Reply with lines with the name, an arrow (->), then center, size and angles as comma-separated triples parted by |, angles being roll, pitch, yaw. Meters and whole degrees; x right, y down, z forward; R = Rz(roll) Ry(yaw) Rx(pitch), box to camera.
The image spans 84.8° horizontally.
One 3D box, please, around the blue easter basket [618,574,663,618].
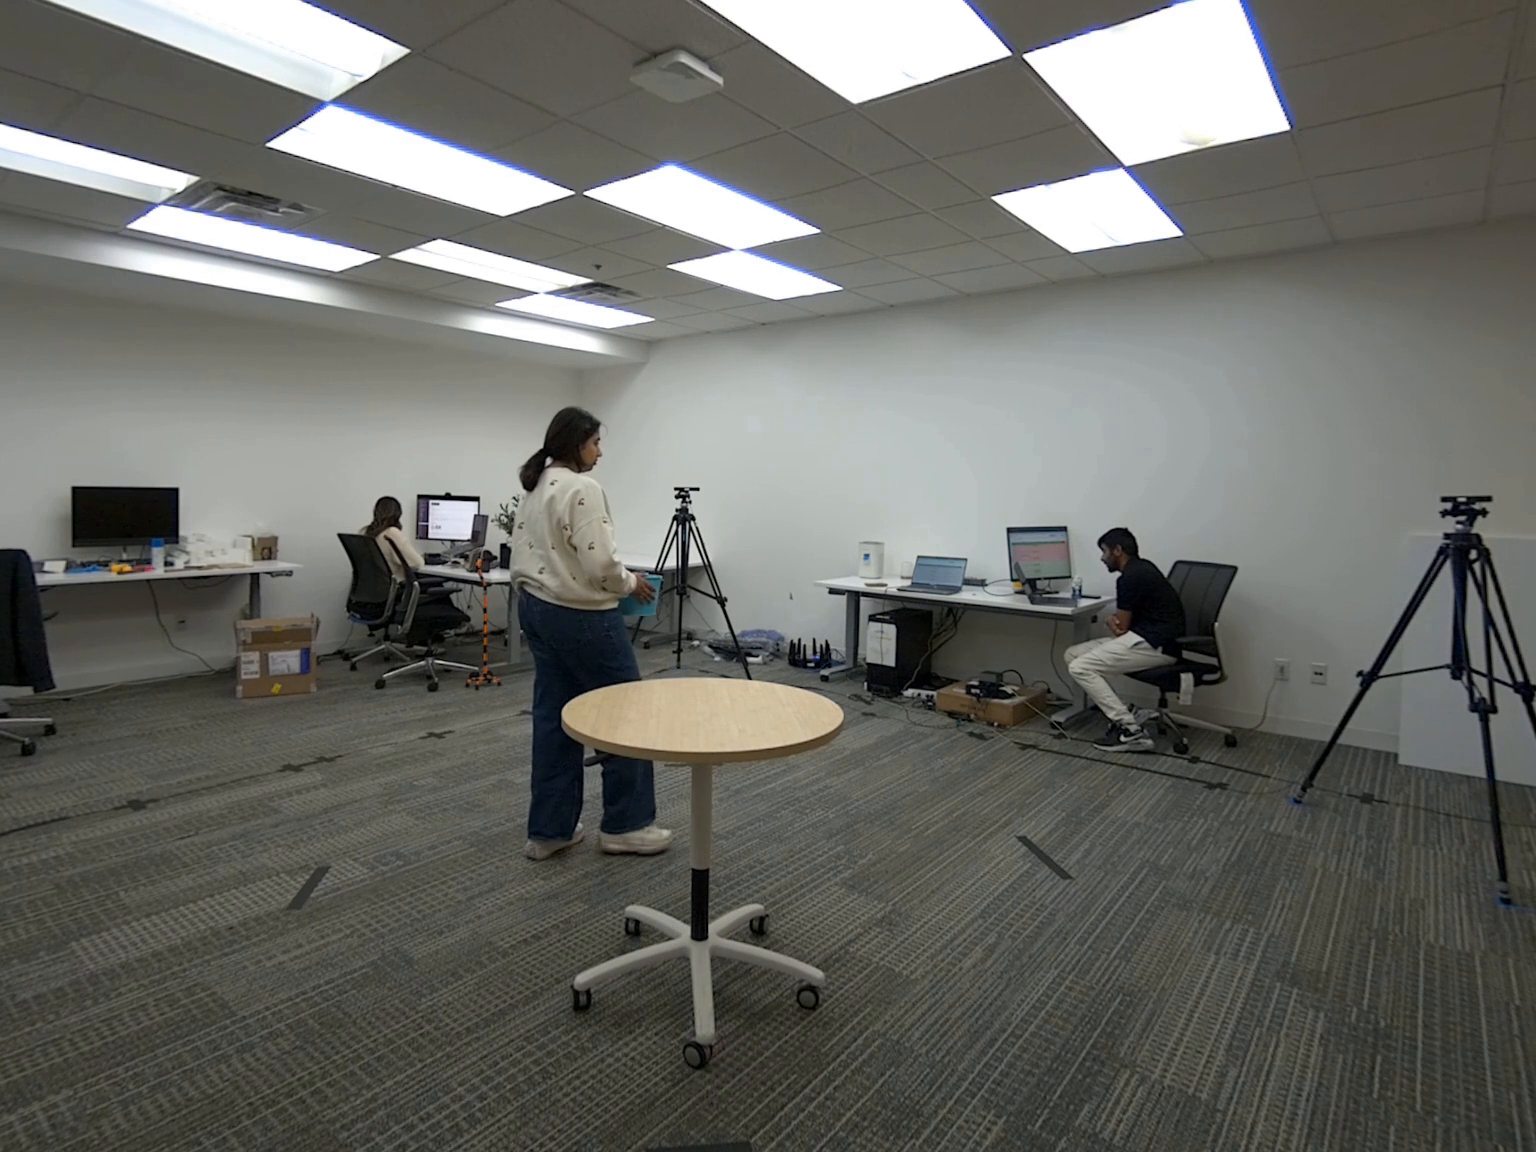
blue easter basket -> -0.549, 0.077, 3.413 | 0.243, 0.156, 0.244 | 0, 2, -2
